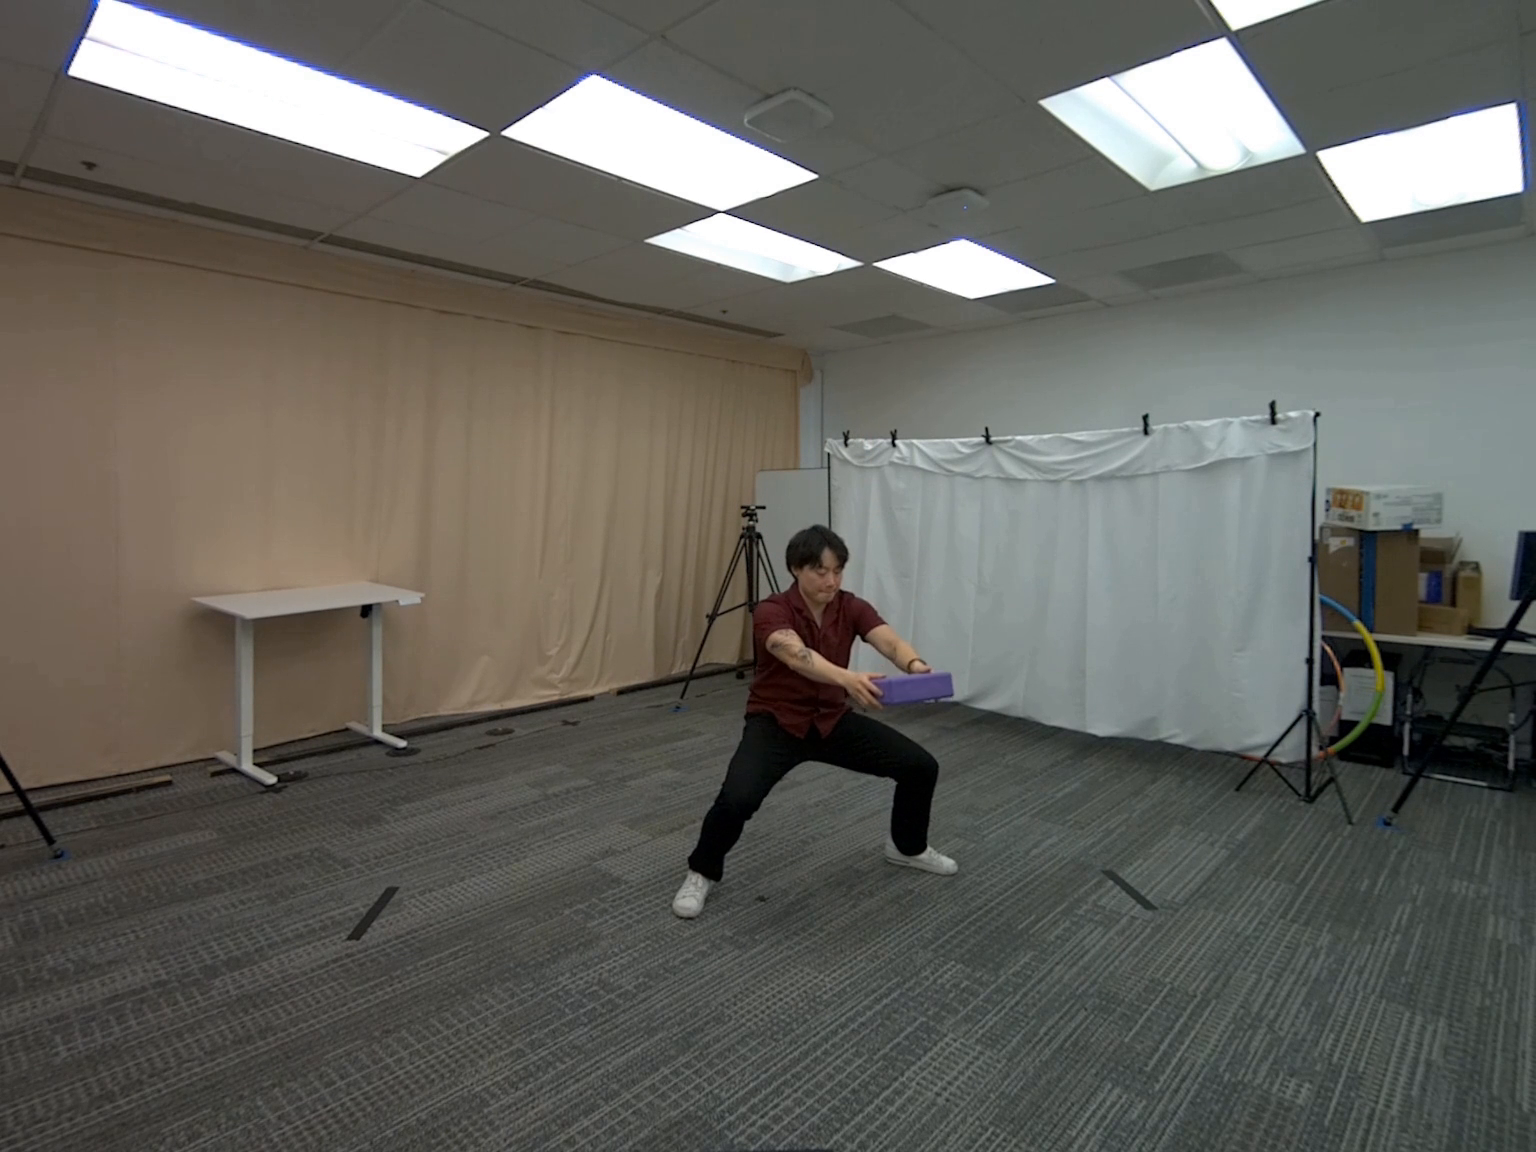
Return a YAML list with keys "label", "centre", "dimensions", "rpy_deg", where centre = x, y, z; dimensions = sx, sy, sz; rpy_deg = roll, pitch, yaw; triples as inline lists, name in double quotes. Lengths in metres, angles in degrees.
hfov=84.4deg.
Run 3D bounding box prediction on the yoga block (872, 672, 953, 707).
- label: "yoga block"
  centre: [0.428, 0.329, 2.542]
  dimensions: [0.224, 0.077, 0.152]
  rpy_deg: [-4, -4, -23]
